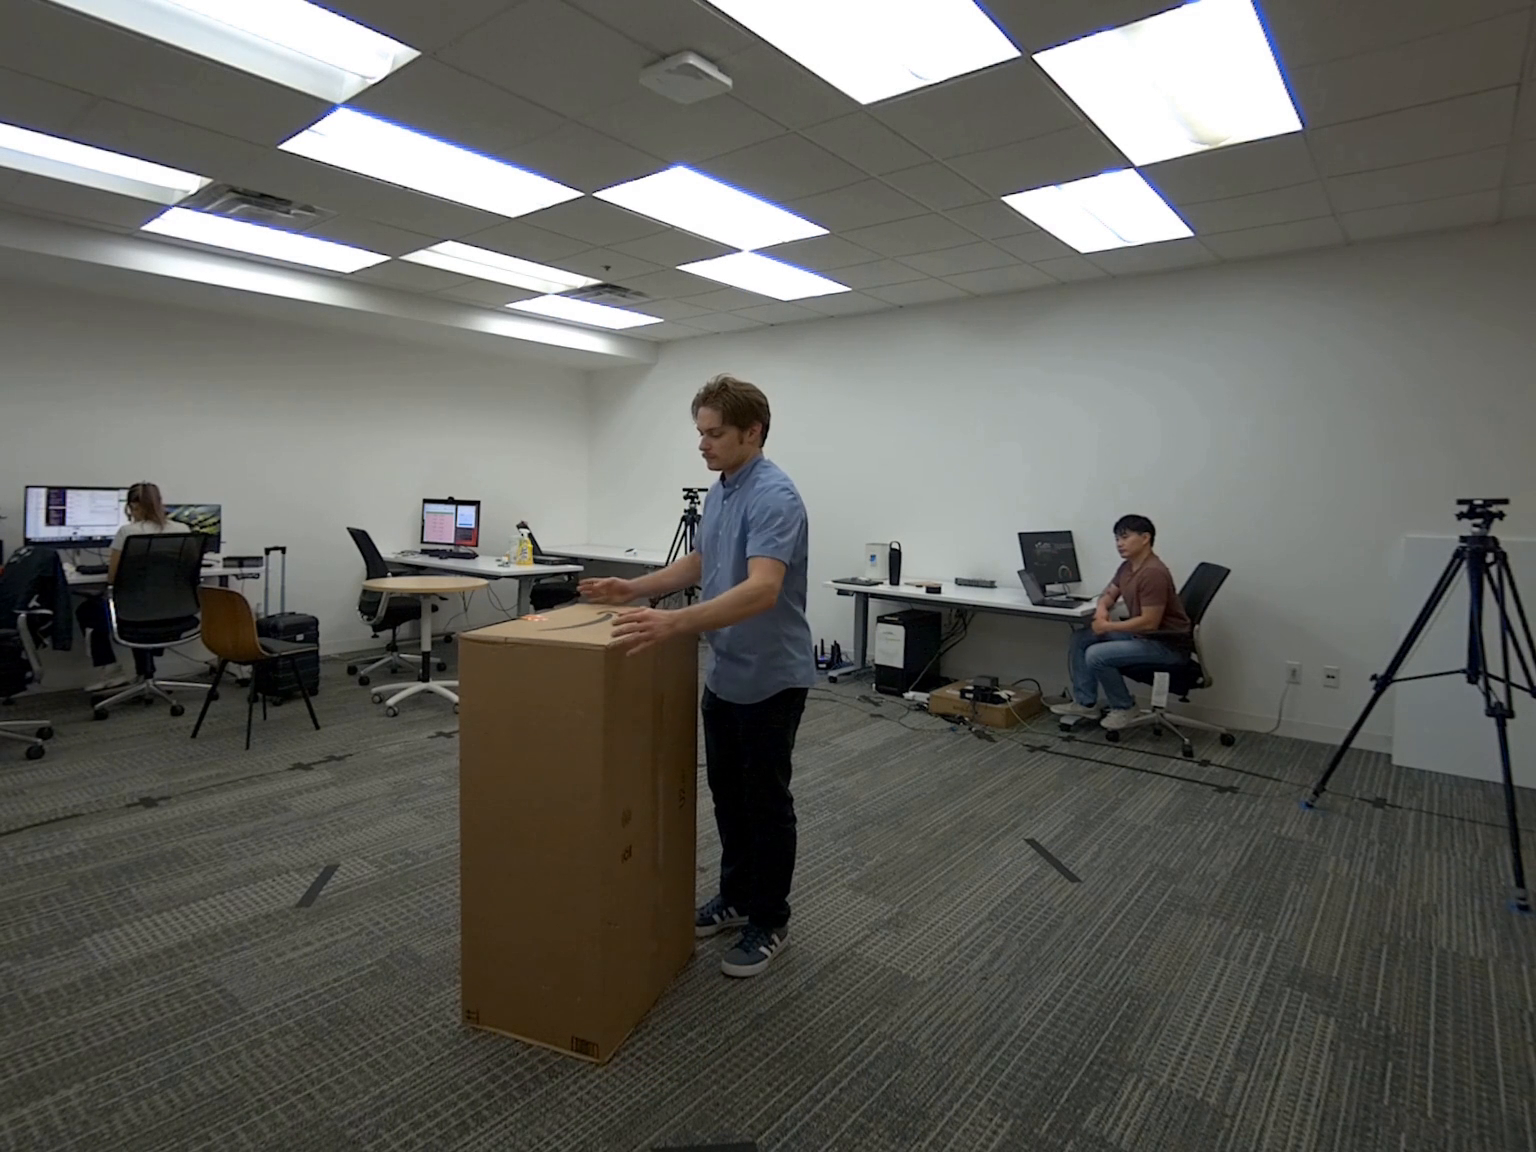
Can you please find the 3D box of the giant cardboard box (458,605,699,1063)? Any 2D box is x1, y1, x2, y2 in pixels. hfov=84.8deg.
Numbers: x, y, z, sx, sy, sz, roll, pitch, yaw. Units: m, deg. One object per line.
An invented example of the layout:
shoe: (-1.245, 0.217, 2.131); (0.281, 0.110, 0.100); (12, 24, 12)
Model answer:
giant cardboard box: (-0.514, 0.632, 2.342); (0.436, 1.022, 0.567); (2, 4, 21)
